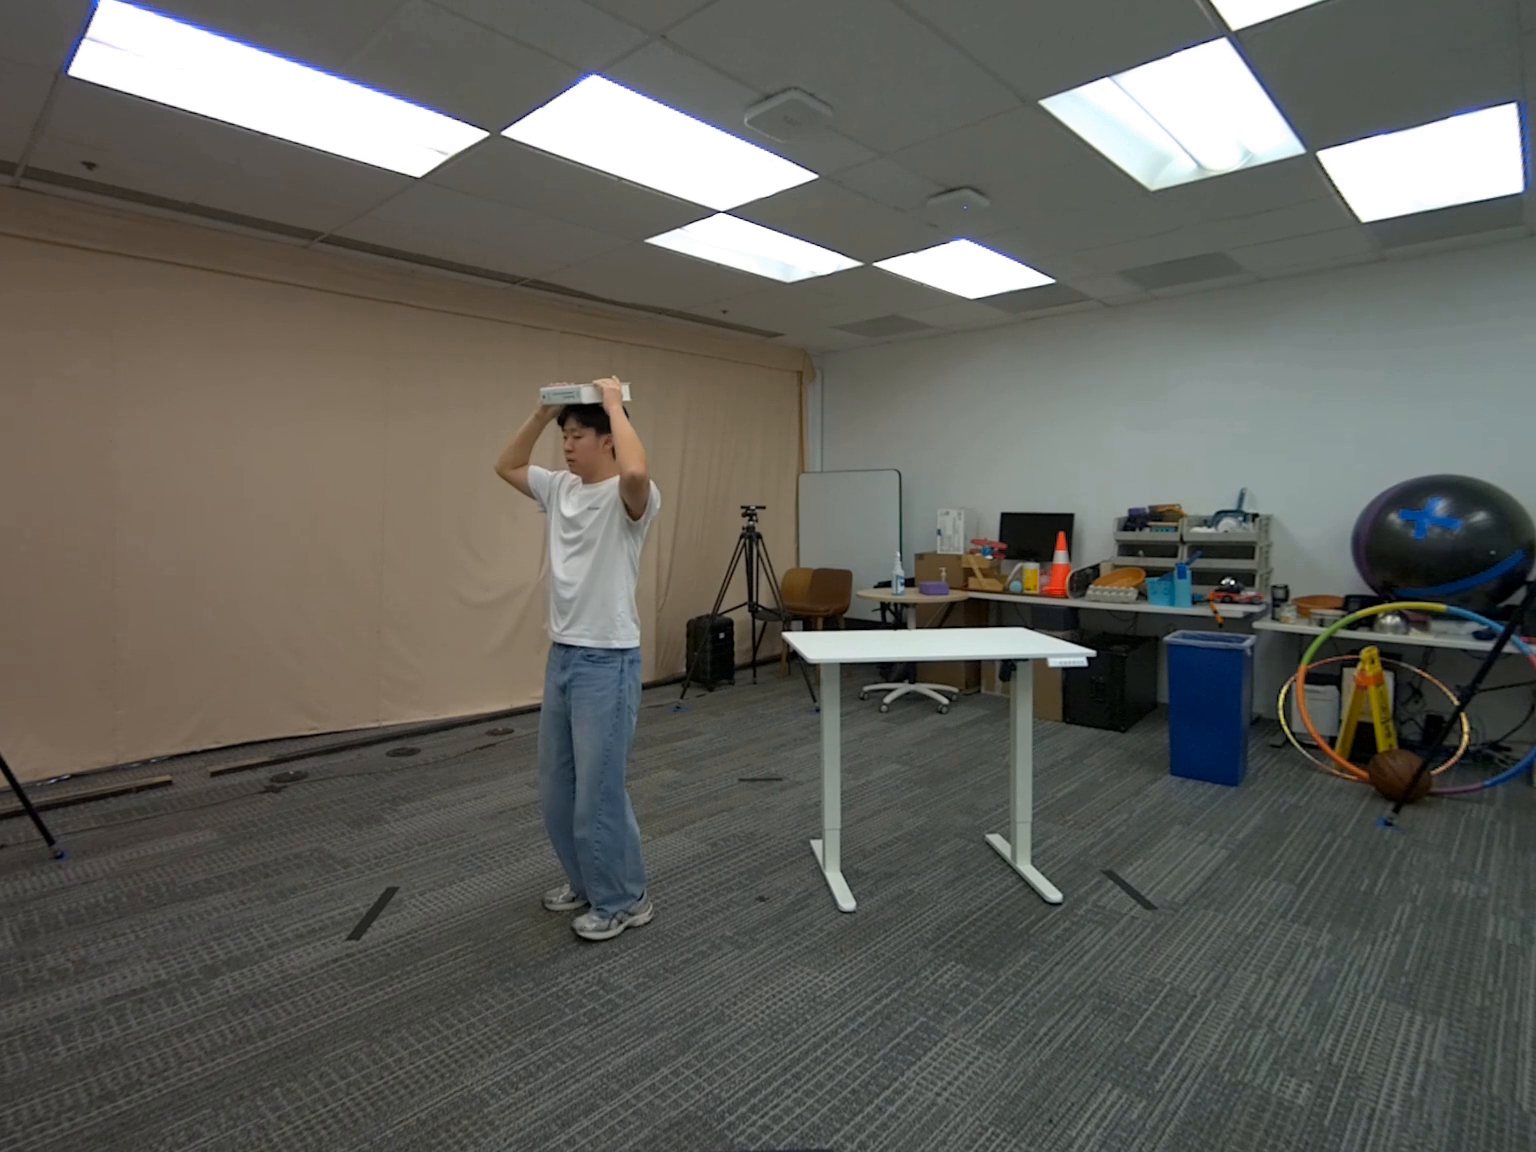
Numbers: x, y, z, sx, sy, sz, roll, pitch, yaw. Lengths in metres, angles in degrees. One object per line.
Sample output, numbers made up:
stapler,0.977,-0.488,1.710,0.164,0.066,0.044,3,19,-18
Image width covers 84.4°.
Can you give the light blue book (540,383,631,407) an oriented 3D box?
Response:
light blue book,-0.587,-0.597,2.754,0.186,0.058,0.270,-11,14,-36
